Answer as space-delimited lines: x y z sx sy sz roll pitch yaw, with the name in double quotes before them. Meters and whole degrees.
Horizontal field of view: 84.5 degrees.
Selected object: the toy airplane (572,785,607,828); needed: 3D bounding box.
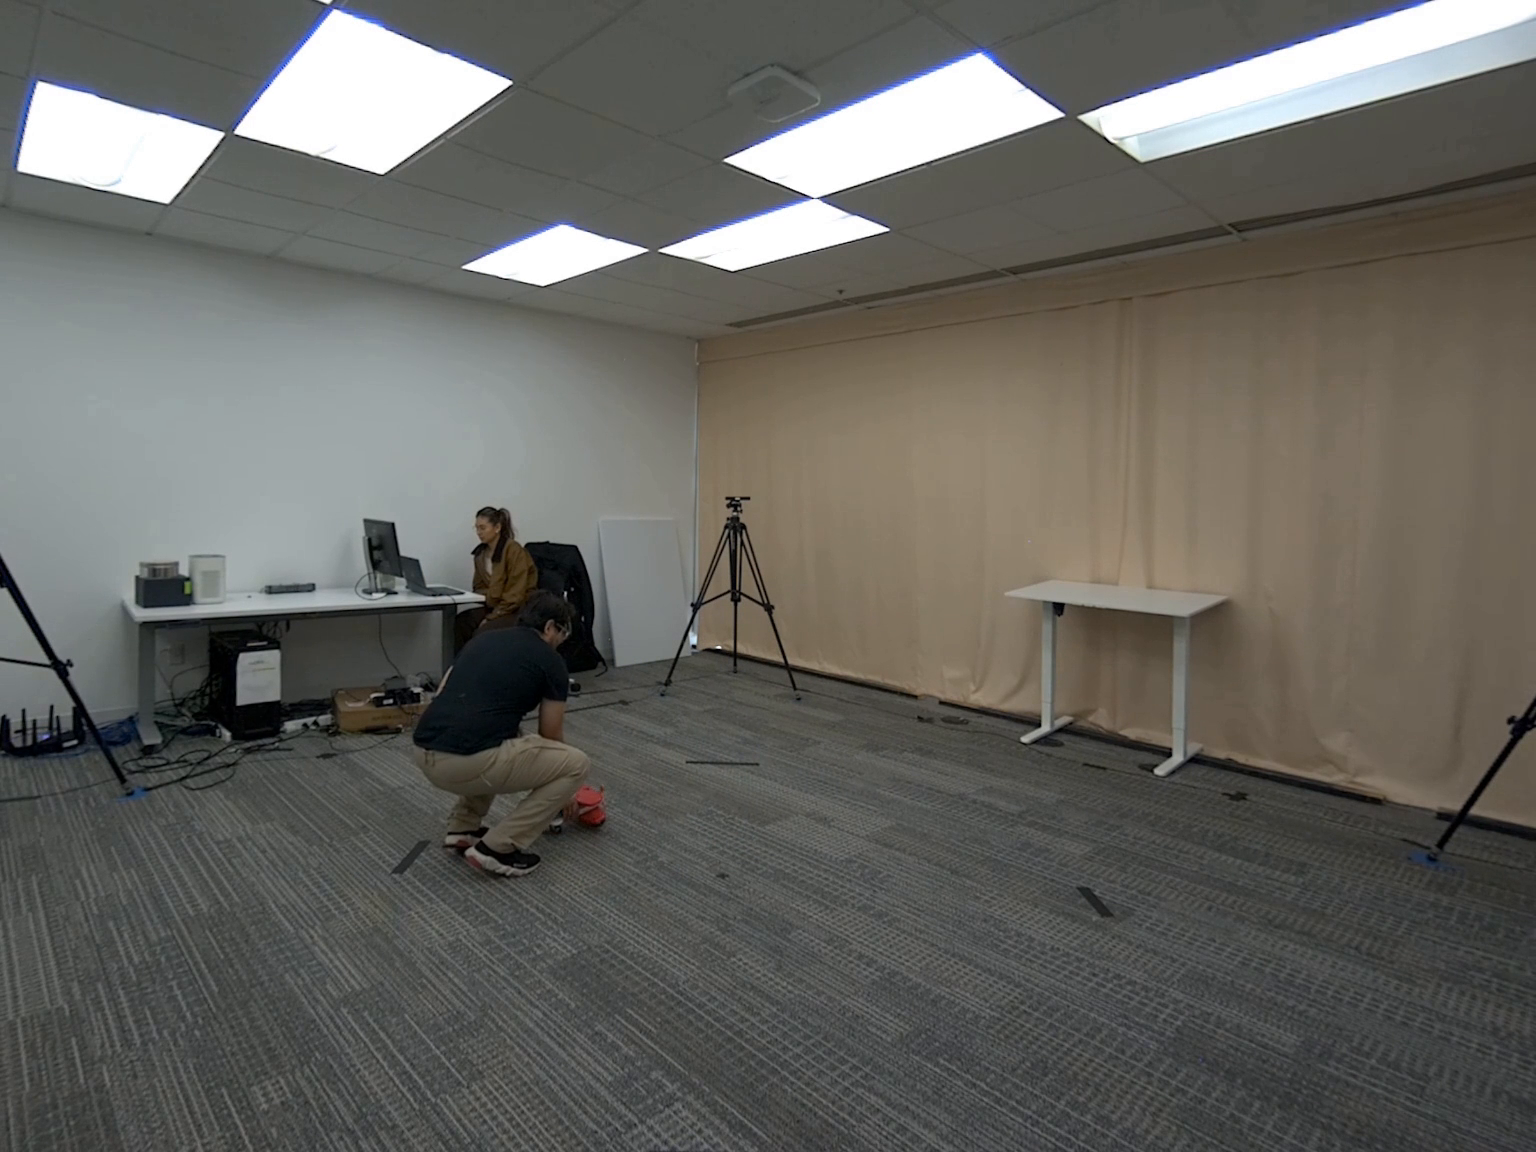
"toy airplane" -0.801 0.979 3.518 0.255 0.156 0.255 3 4 21
